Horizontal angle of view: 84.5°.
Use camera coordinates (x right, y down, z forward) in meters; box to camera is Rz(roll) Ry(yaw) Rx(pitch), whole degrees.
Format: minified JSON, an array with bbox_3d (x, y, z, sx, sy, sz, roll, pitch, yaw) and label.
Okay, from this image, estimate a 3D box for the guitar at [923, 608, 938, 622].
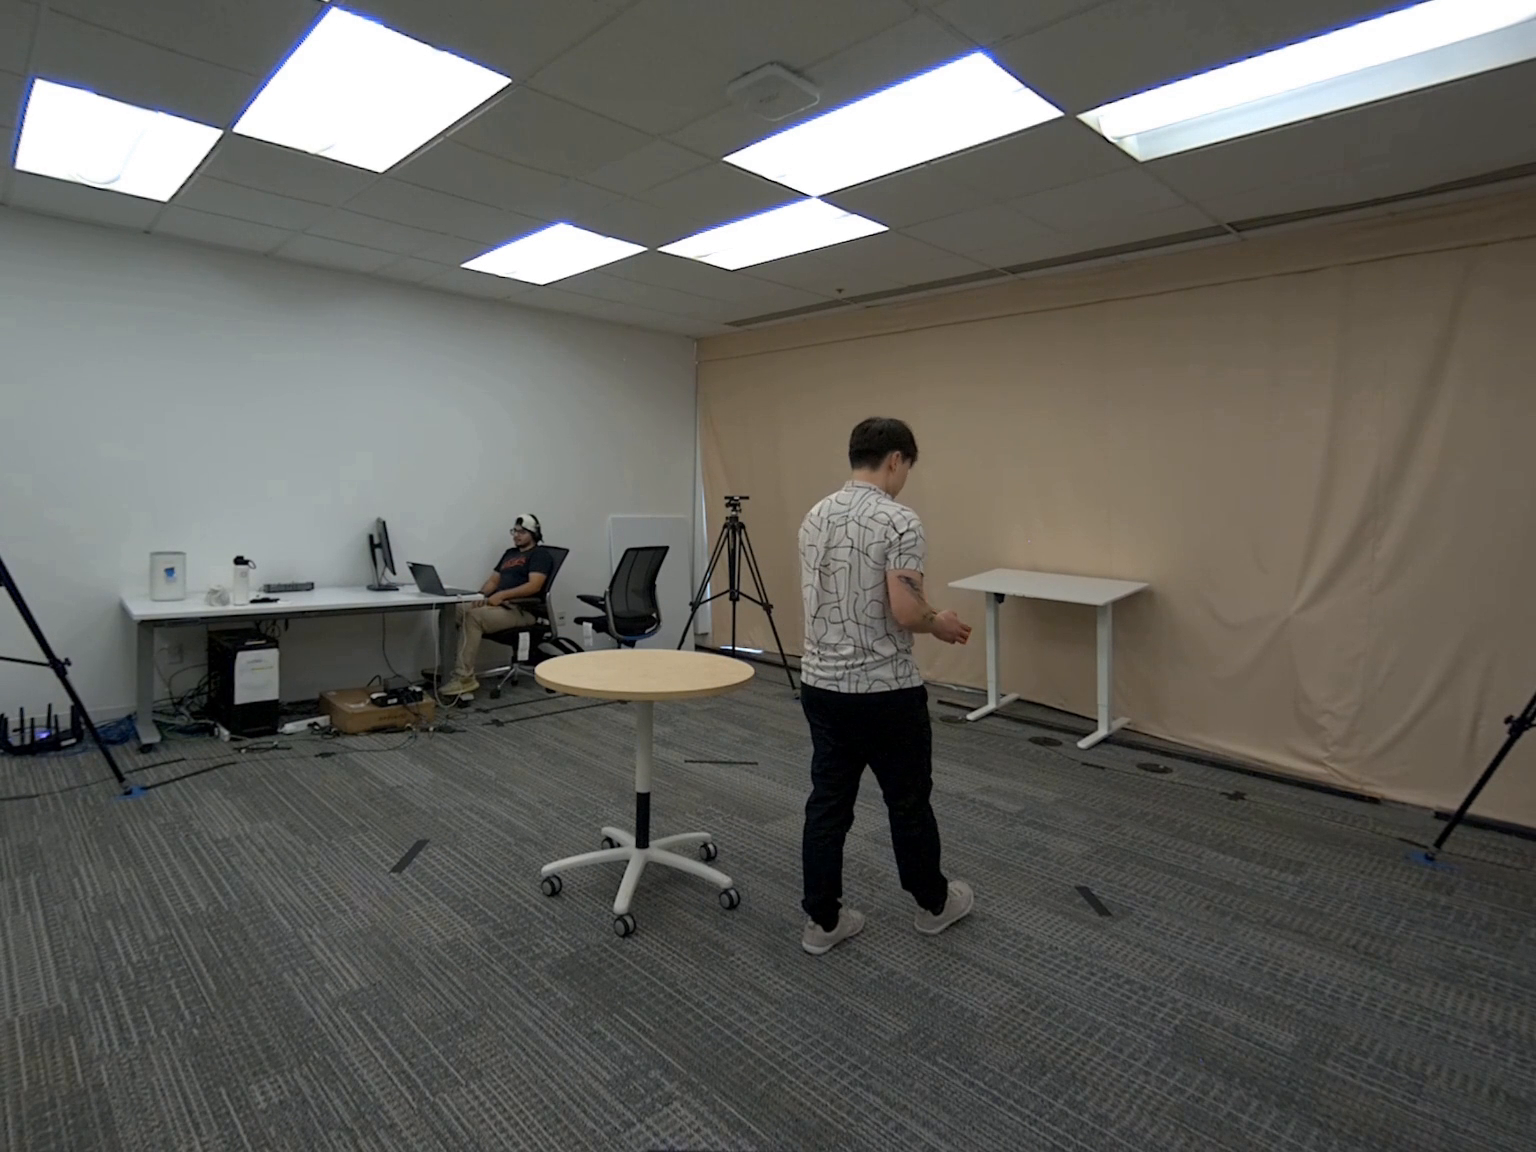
[{"bbox_3d":[0.508,0.126,2.870,0.189,0.071,0.508,27,0,-21],"label":"guitar"}]
